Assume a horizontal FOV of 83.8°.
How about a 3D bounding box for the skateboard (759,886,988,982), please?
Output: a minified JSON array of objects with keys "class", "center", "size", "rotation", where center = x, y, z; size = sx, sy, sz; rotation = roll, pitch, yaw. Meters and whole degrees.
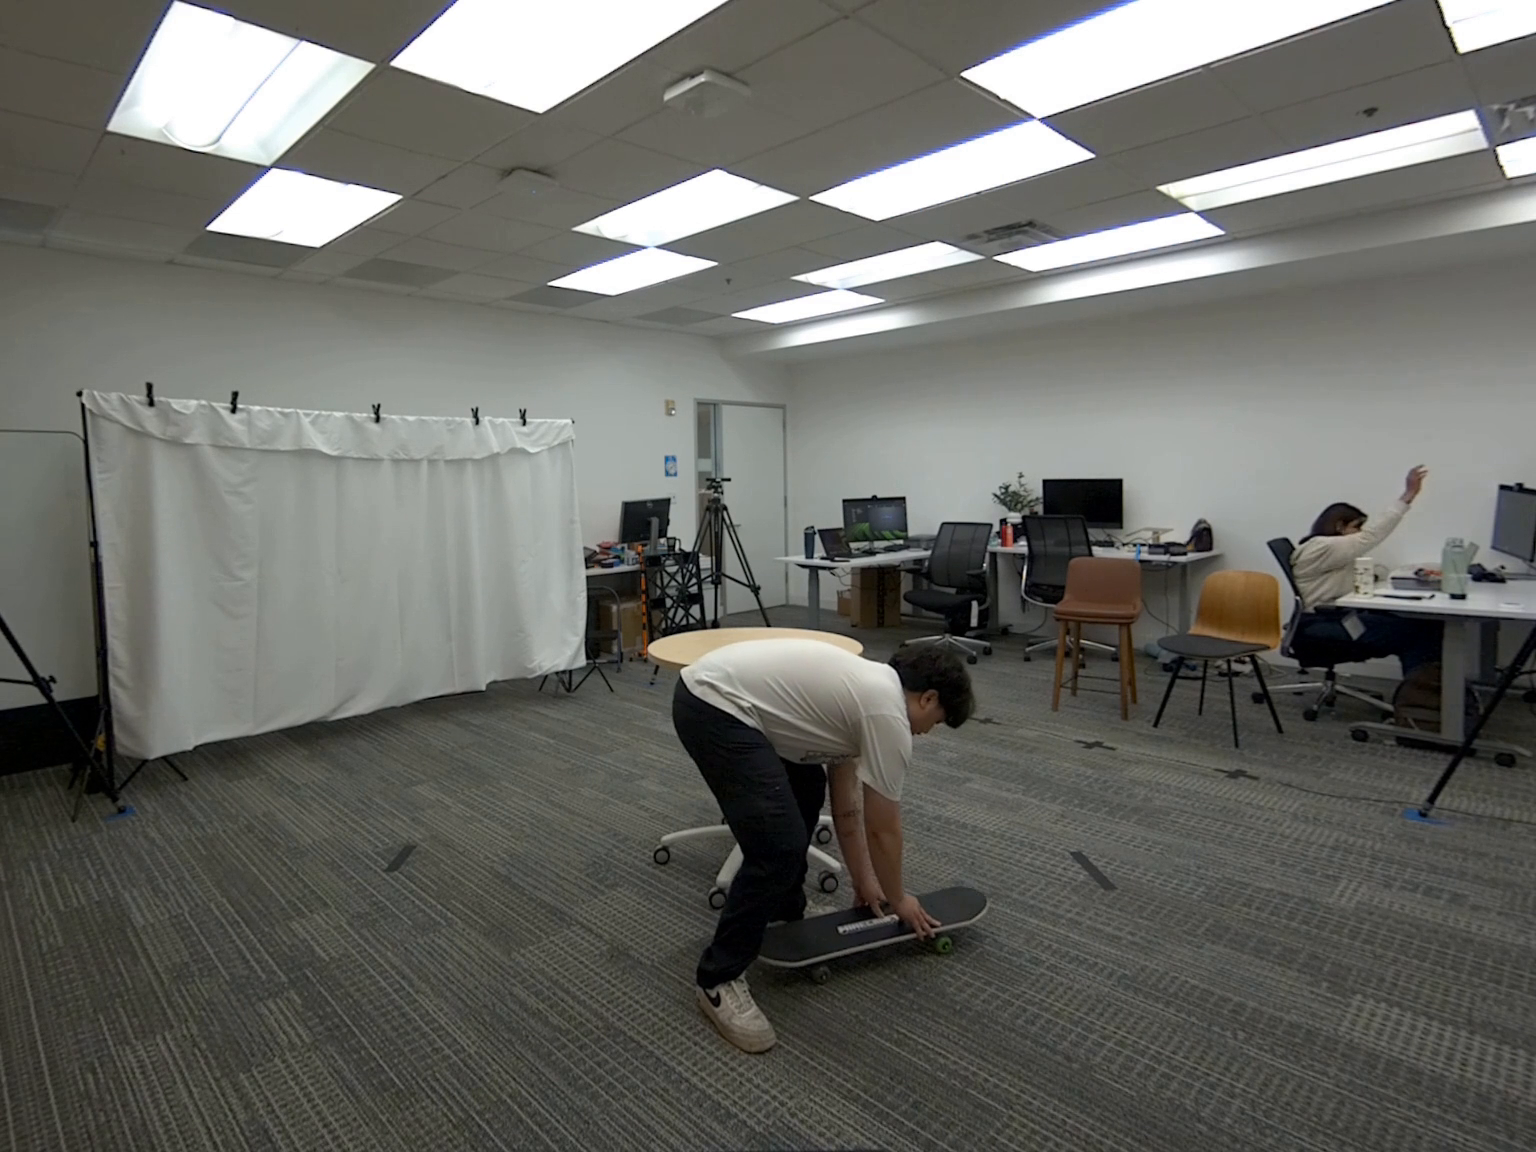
[{"class":"skateboard","center":[0.307,1.053,2.500],"size":[0.772,0.110,0.198],"rotation":[-4,7,-19]}]
